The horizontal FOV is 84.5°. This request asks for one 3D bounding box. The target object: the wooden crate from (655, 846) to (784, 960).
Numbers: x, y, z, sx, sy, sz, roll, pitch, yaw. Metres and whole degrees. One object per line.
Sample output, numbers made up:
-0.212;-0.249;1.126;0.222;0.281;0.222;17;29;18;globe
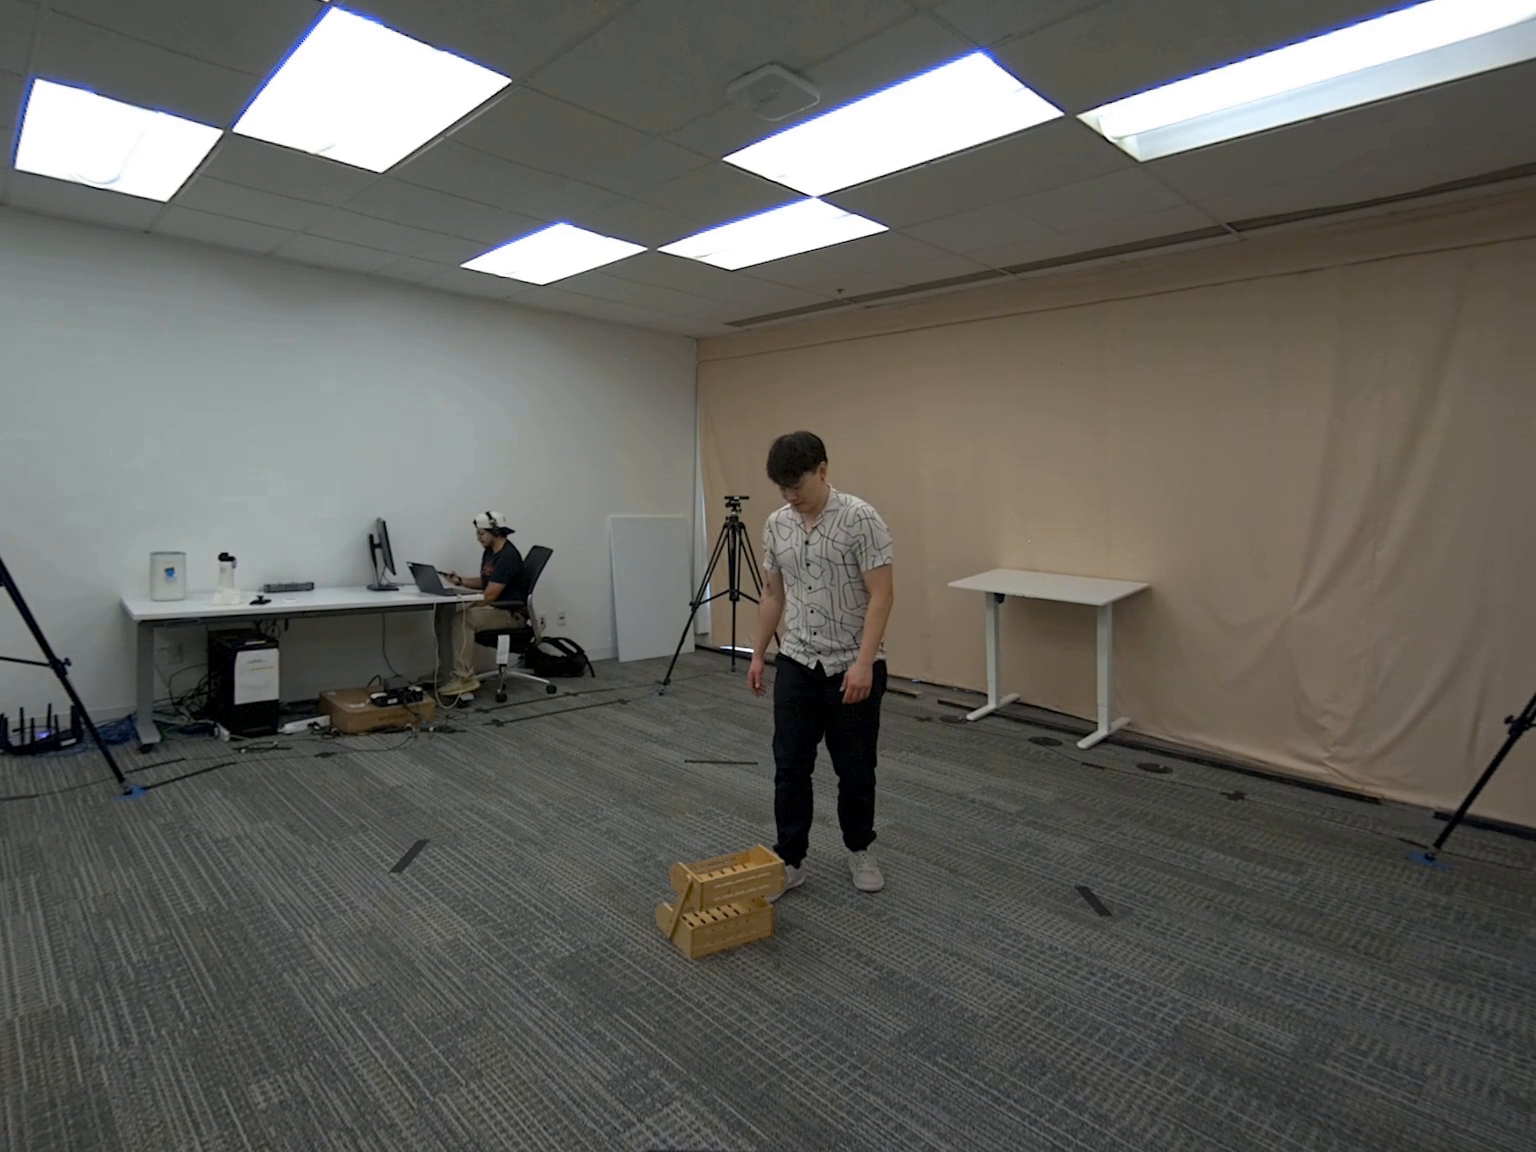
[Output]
-0.164;1.006;2.680;0.318;0.272;0.309;-1;6;-33;wooden crate
